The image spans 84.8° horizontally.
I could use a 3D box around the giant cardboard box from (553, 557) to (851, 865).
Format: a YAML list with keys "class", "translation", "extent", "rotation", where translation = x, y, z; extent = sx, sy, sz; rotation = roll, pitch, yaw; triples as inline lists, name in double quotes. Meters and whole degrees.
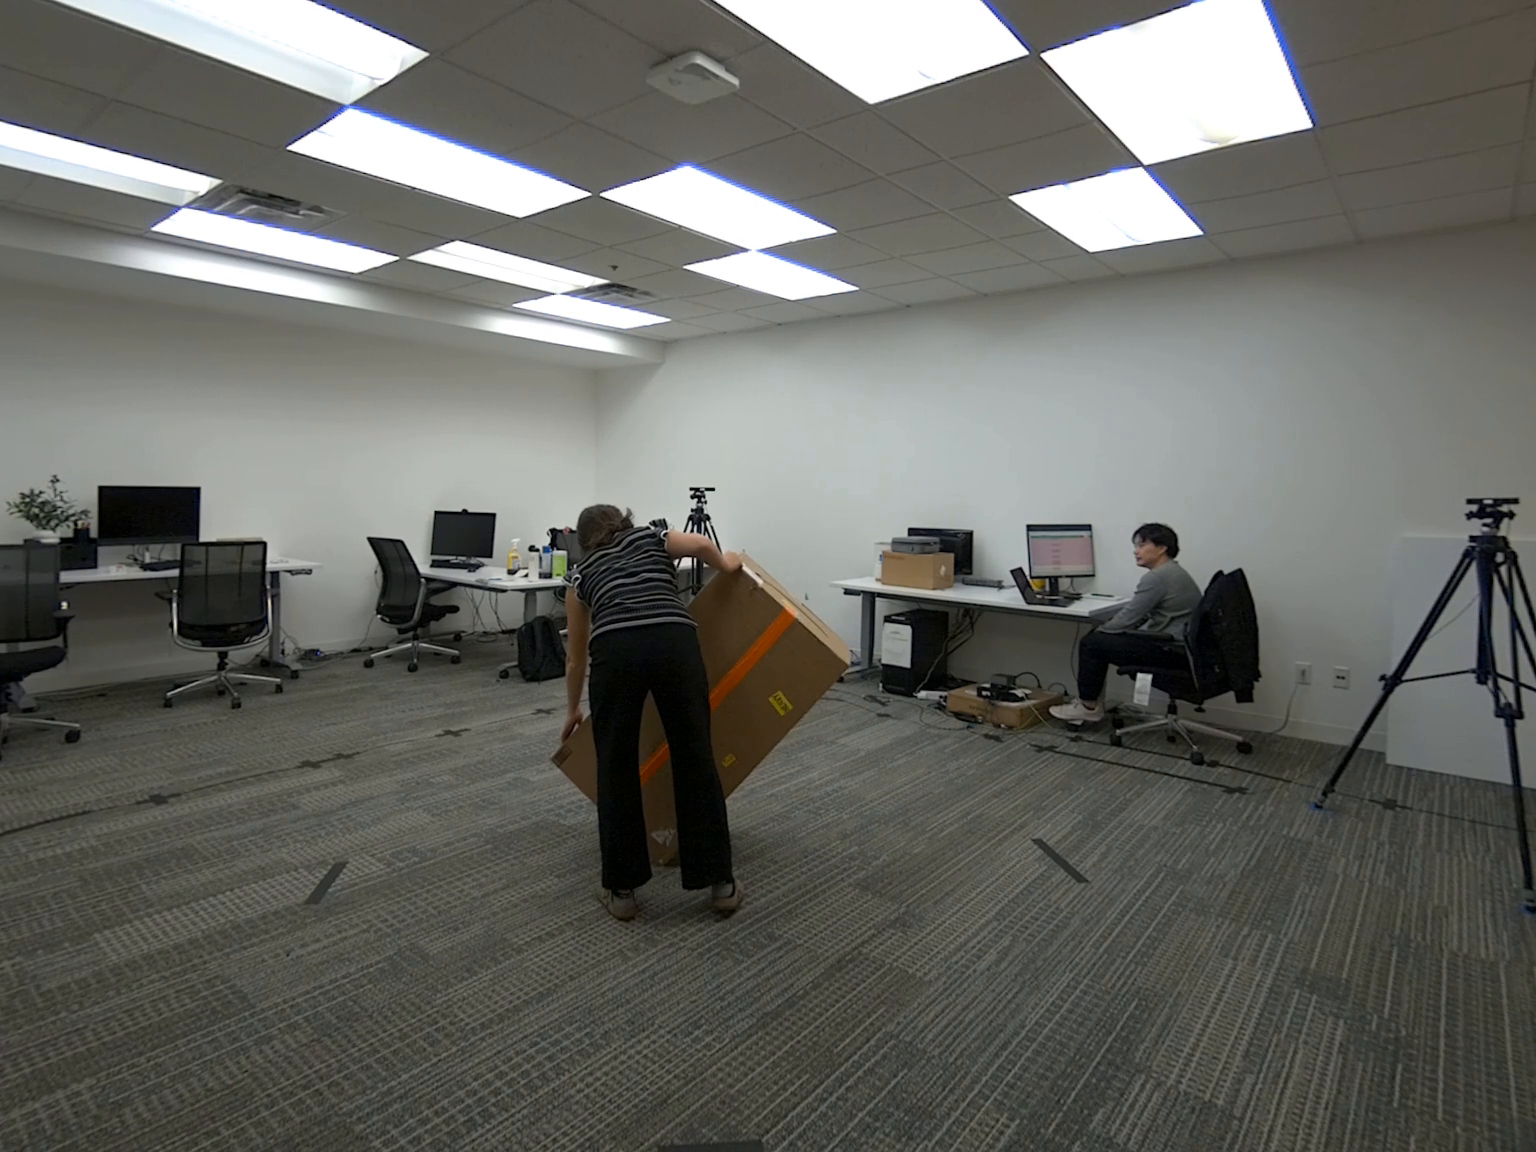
- class: "giant cardboard box"
  translation: [-0.252, 0.481, 3.282]
  extent: [0.580, 1.025, 0.424]
  rotation: [43, 7, 2]
